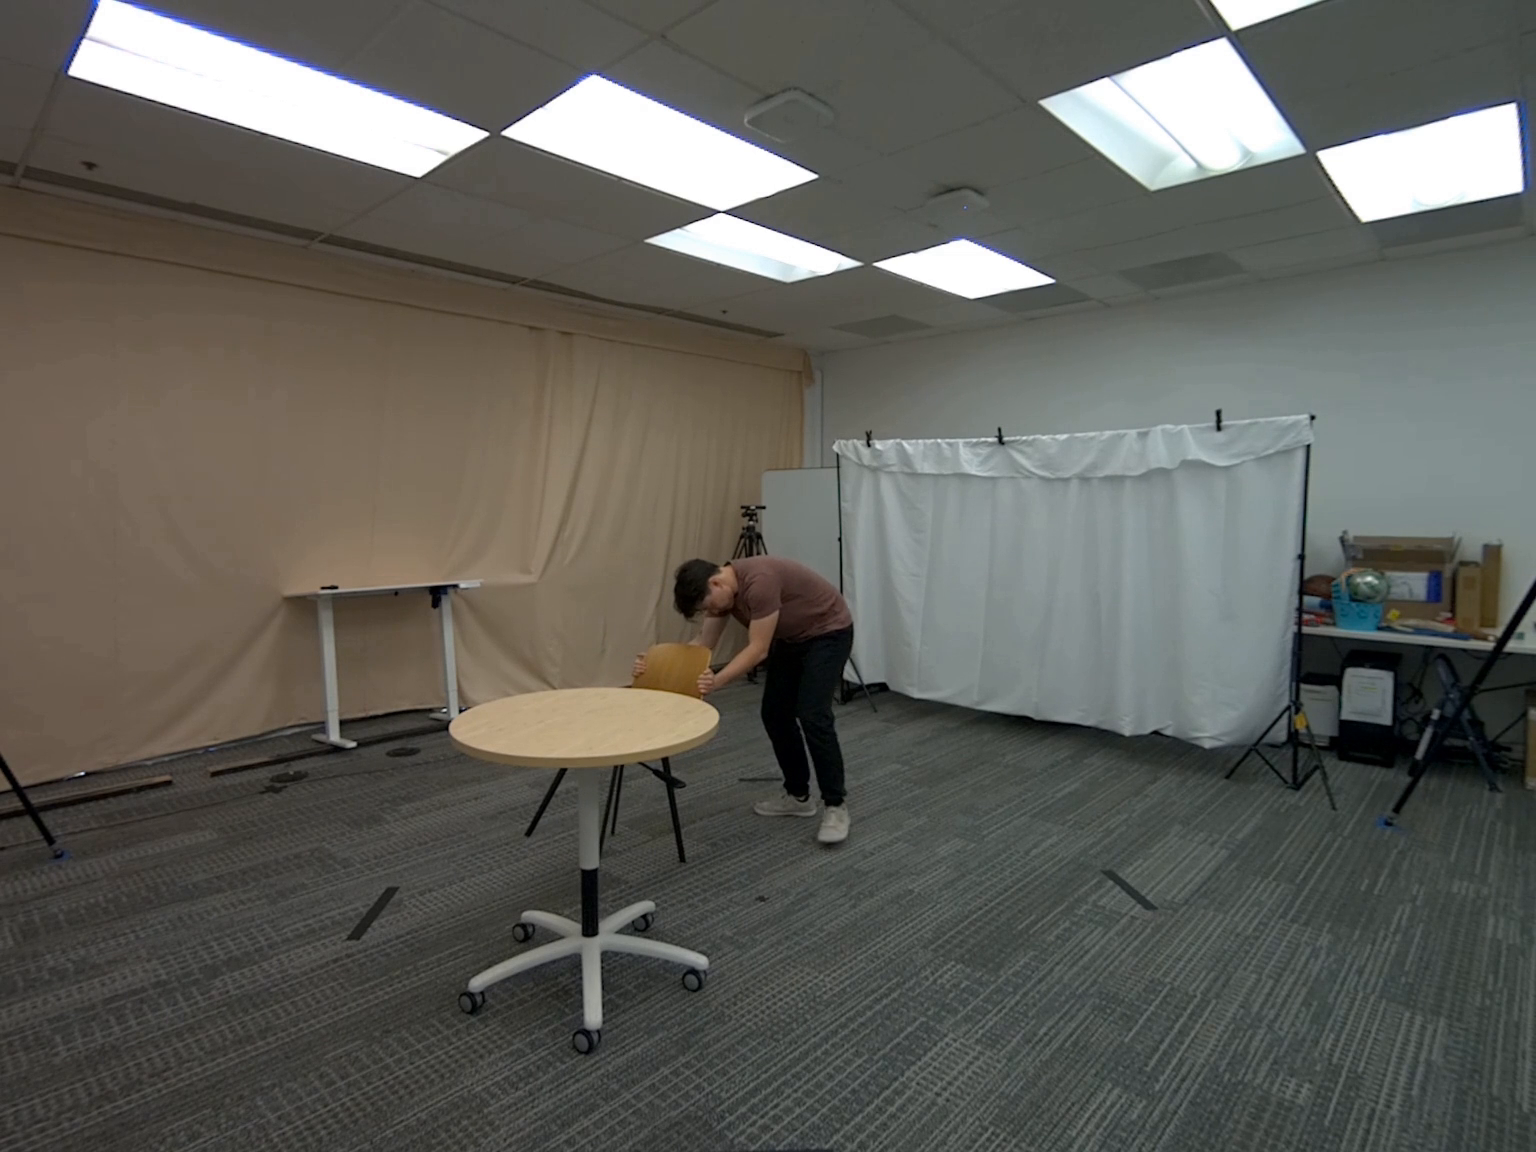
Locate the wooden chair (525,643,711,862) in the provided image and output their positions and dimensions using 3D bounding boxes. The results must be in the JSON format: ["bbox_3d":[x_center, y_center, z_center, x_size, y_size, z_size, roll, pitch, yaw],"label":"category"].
[{"bbox_3d":[-0.571,0.648,3.321,0.494,0.881,0.504,2,-14,43],"label":"wooden chair"}]
